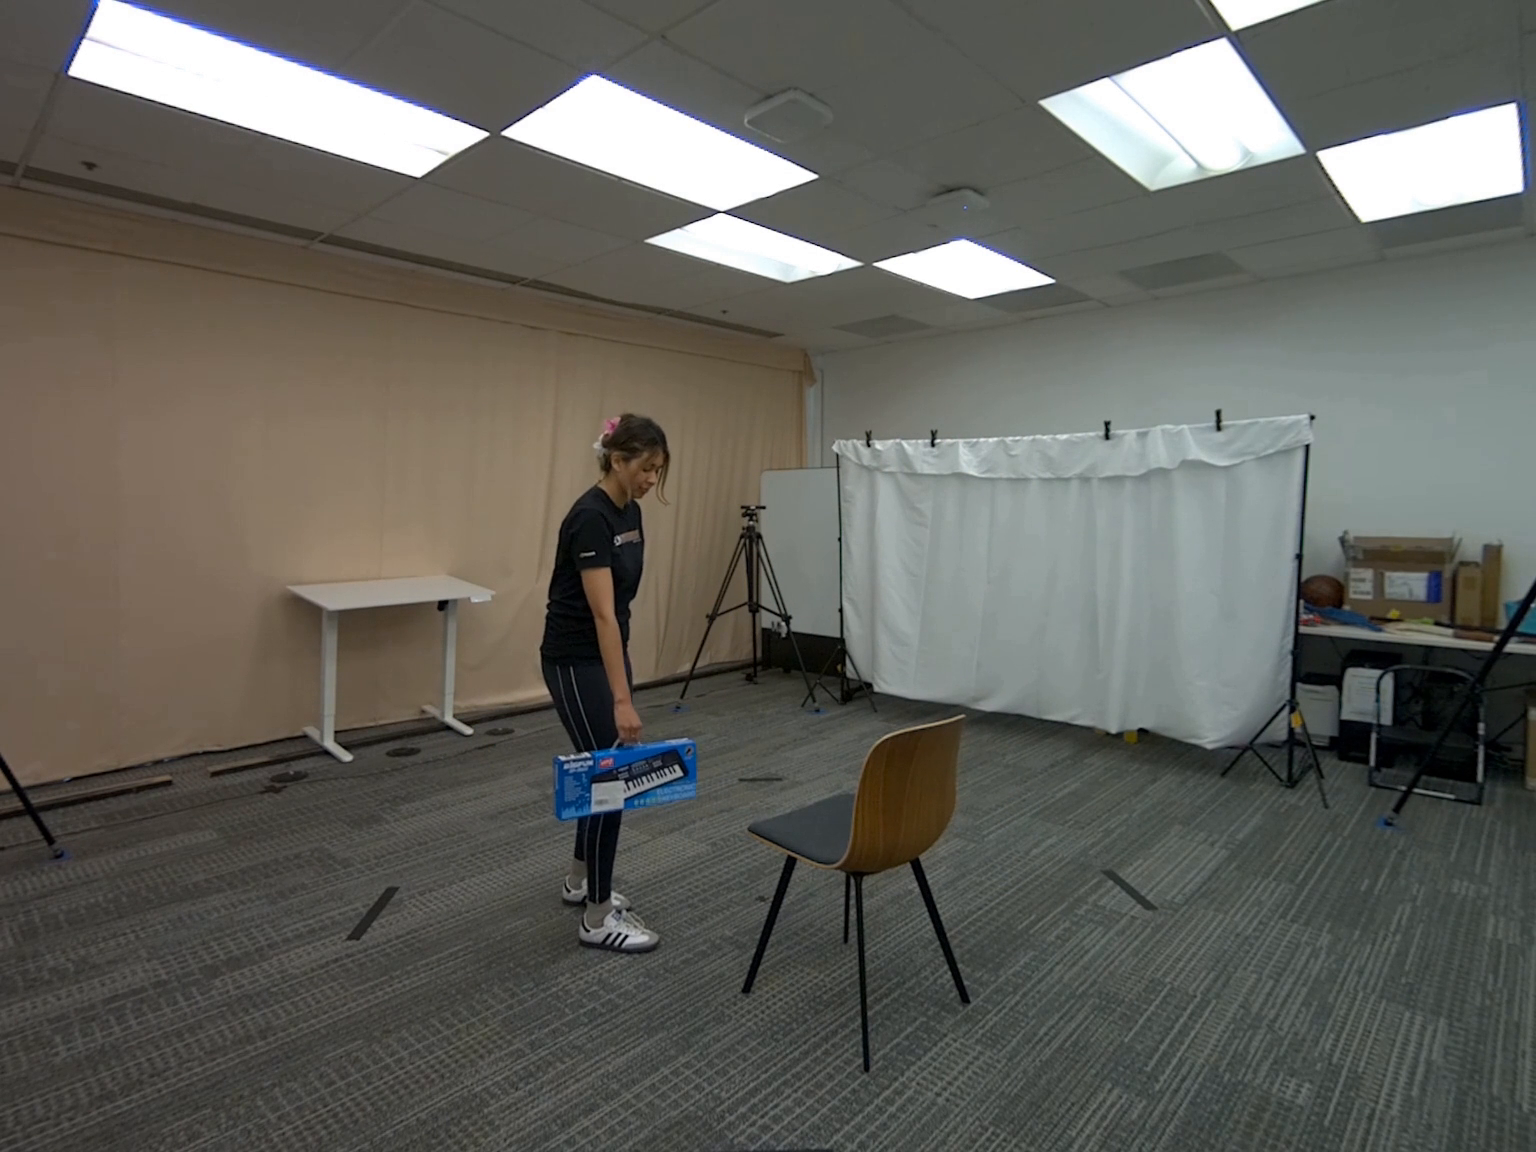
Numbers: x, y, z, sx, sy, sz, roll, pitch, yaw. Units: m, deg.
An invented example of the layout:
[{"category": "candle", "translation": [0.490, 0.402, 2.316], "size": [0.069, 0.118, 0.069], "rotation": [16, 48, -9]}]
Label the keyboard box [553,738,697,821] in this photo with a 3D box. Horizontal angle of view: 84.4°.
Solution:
[{"category": "keyboard box", "translation": [-0.418, 0.603, 2.504], "size": [0.425, 0.176, 0.061], "rotation": [-2, 1, -29]}]
